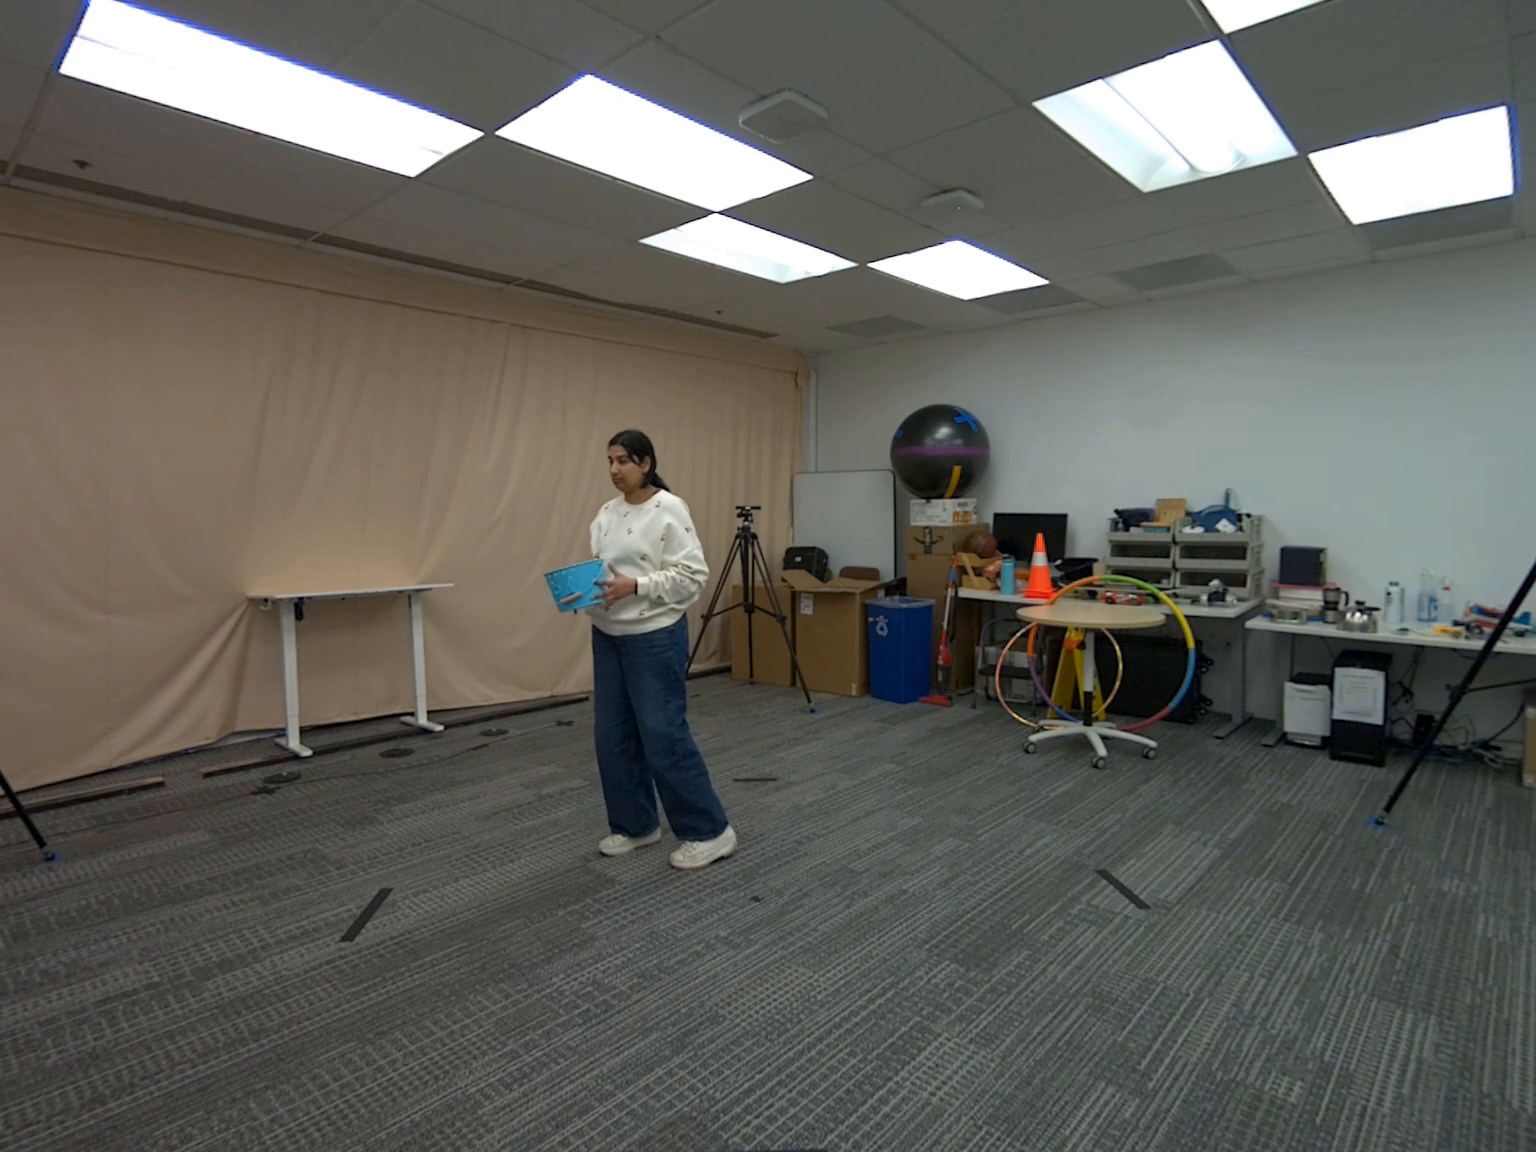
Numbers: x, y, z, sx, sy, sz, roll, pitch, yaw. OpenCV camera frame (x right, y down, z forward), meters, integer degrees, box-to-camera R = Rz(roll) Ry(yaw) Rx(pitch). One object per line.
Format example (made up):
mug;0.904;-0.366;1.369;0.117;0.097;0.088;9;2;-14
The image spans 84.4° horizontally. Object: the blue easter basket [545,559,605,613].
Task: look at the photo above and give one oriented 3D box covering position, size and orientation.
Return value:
blue easter basket;-0.722;0.038;3.115;0.243;0.156;0.244;-10;2;-2
